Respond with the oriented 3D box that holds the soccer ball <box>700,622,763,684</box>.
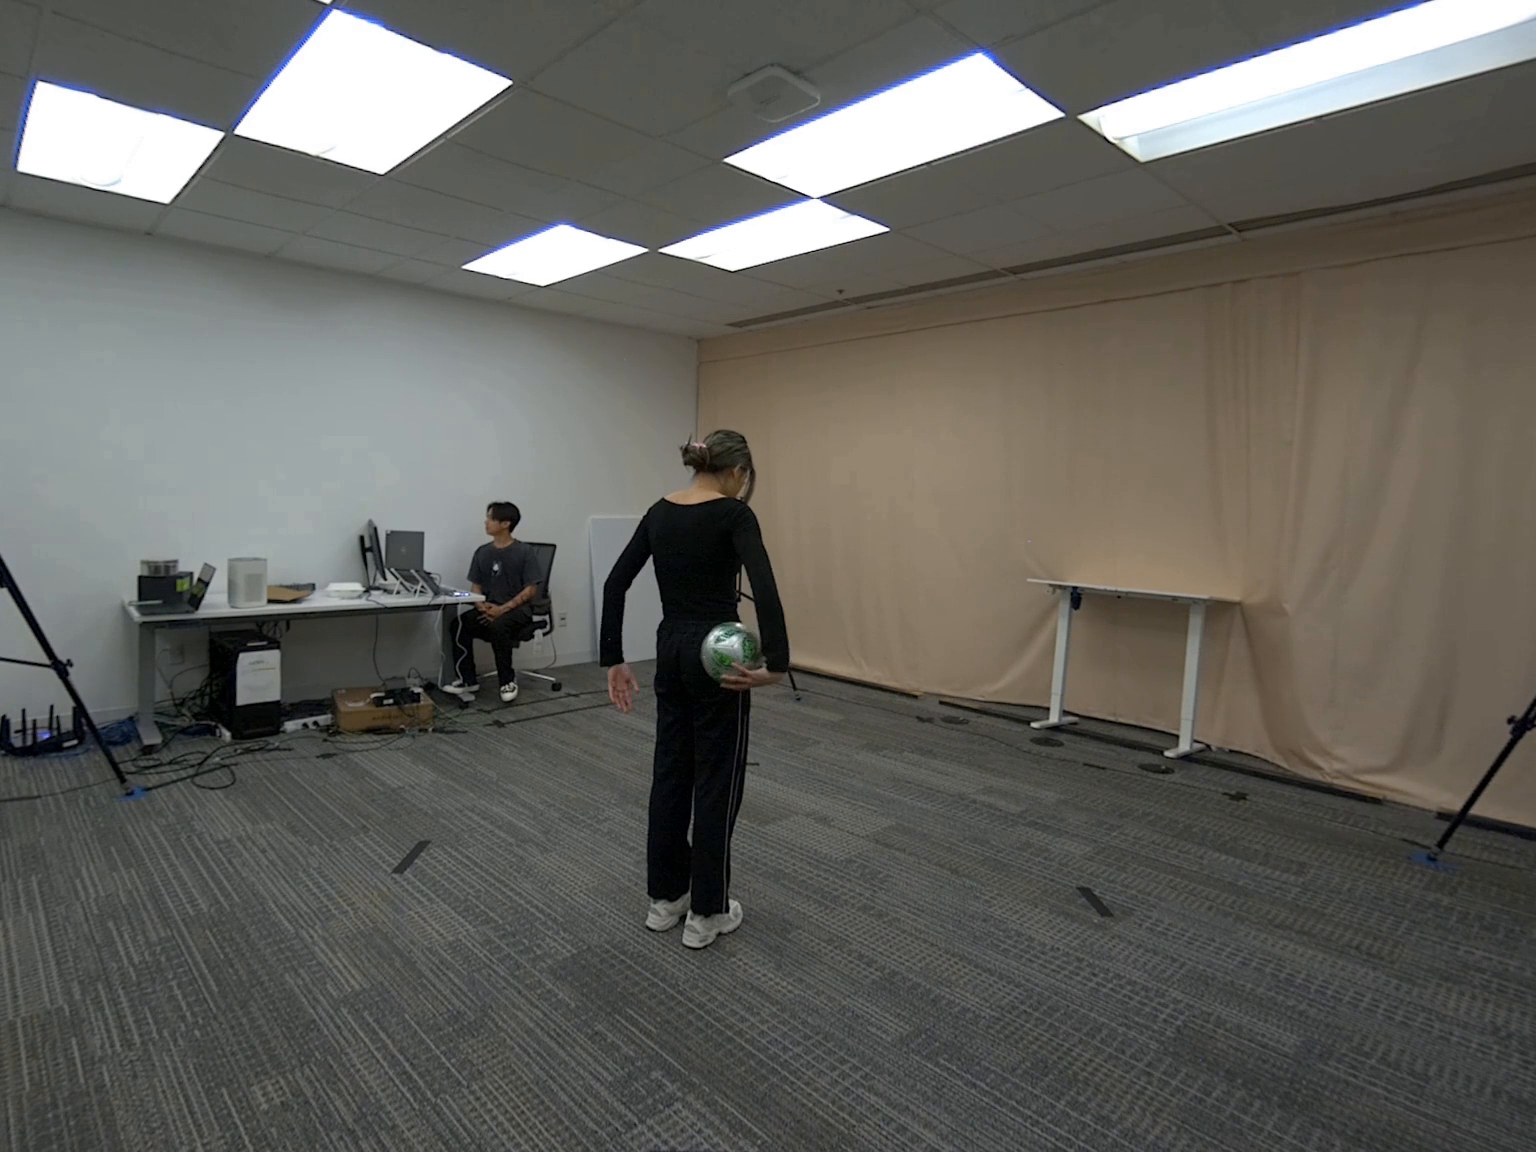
[{"bbox_3d":[-0.113,0.229,2.486,0.187,0.187,0.188,1,4,-1],"label":"soccer ball"}]
